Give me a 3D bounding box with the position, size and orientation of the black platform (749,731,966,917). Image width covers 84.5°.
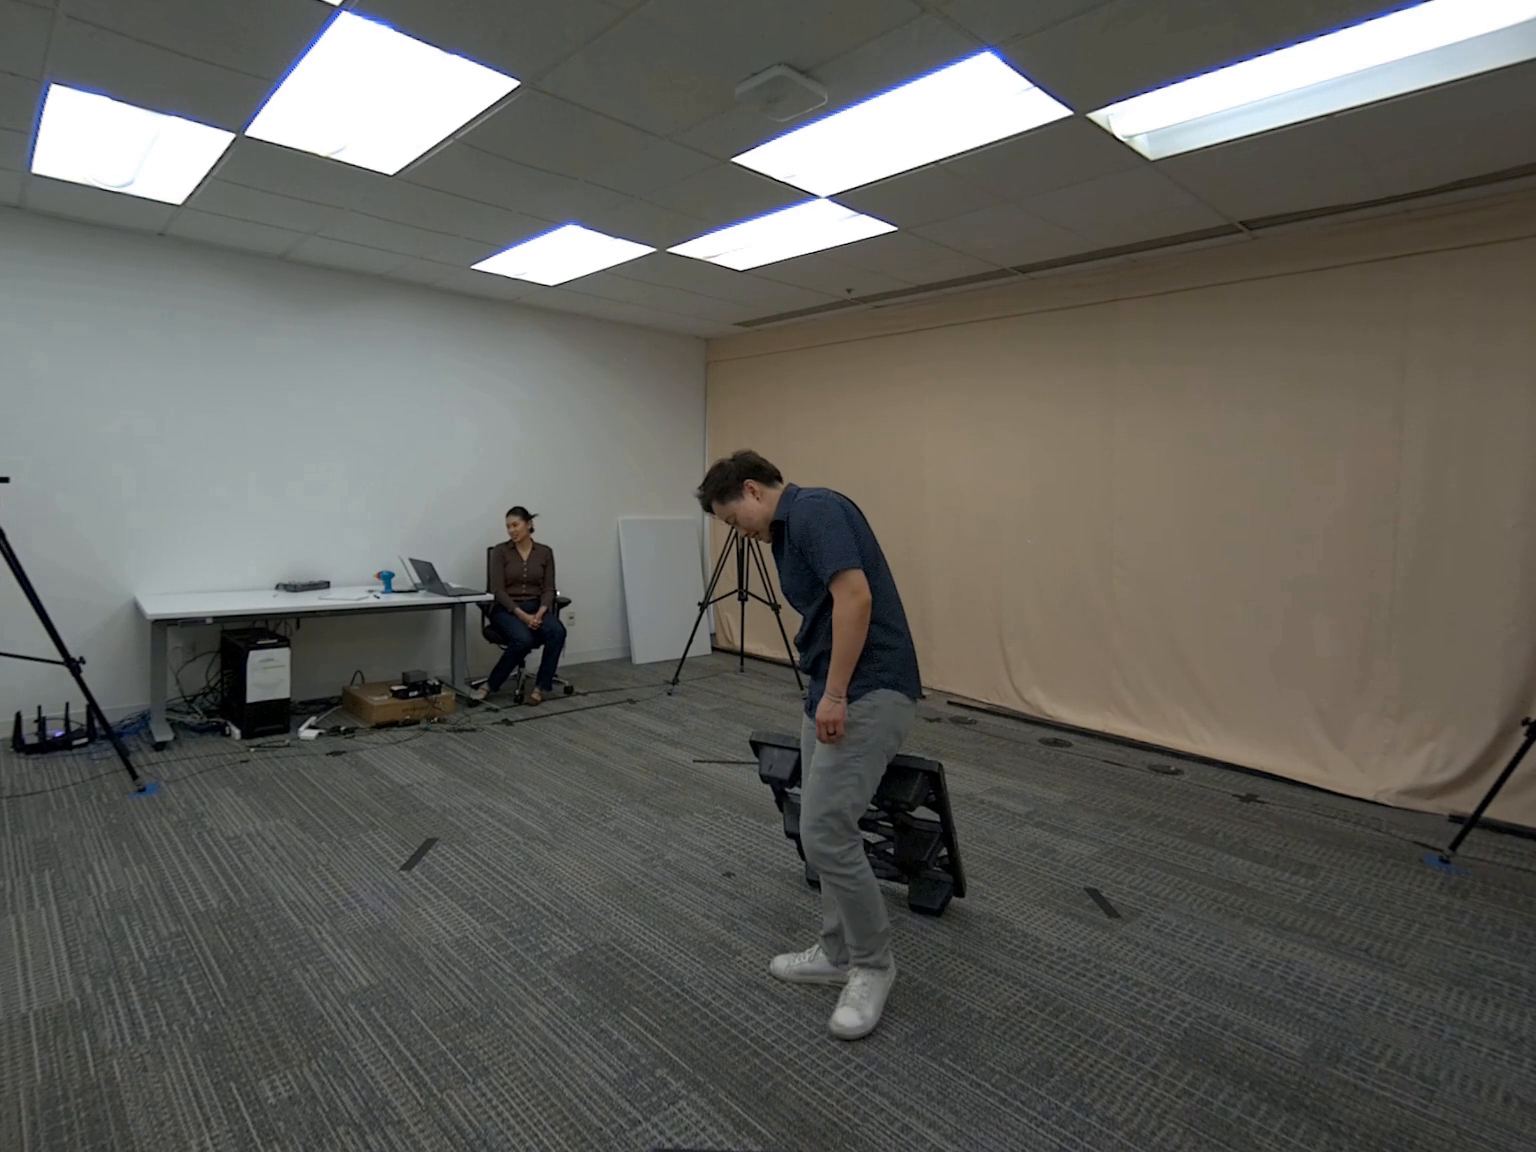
[{"bbox_3d":[0.297,0.833,2.733,0.617,0.783,0.144,5,46,25],"label":"black platform"}]
